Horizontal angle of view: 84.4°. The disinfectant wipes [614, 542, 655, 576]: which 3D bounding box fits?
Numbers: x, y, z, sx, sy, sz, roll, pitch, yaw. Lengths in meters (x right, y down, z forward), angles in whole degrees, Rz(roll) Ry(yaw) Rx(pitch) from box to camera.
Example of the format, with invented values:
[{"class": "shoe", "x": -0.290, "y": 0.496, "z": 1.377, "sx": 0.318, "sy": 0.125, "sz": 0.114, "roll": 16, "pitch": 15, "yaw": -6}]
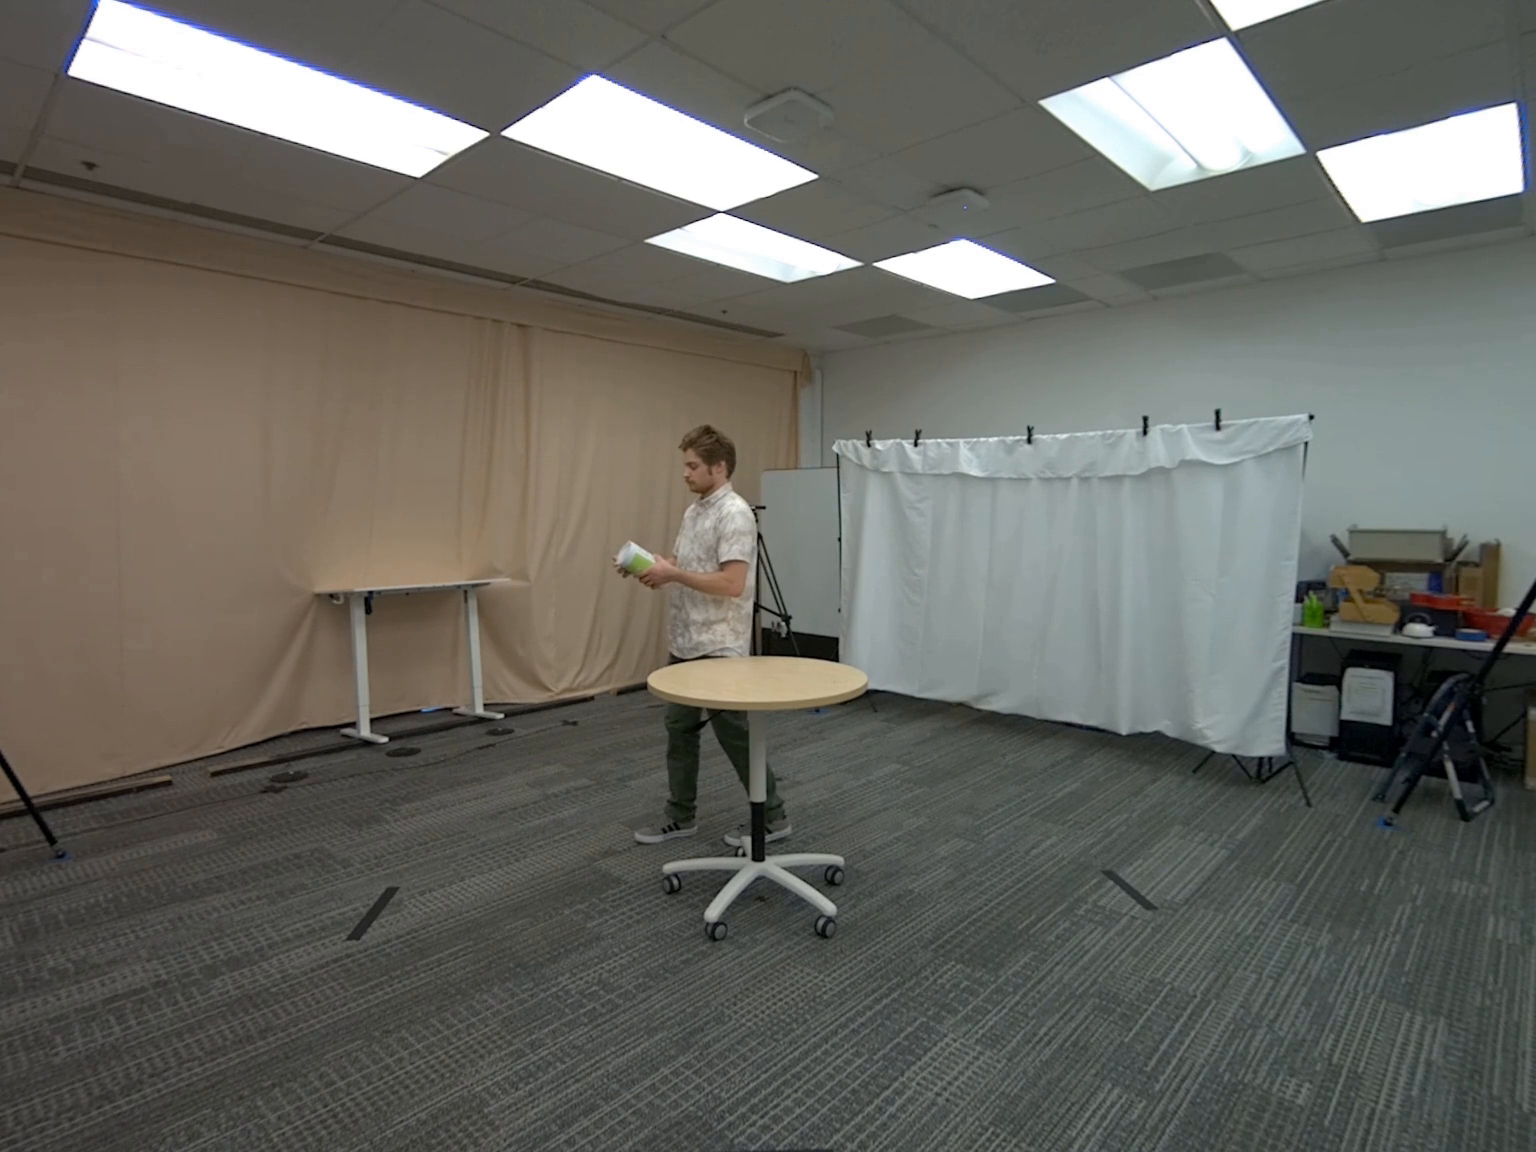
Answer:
[{"class": "disinfectant wipes", "x": -0.480, "y": -0.038, "z": 3.383, "sx": 0.213, "sy": 0.118, "sz": 0.120, "roll": 36, "pitch": -8, "yaw": -16}]
